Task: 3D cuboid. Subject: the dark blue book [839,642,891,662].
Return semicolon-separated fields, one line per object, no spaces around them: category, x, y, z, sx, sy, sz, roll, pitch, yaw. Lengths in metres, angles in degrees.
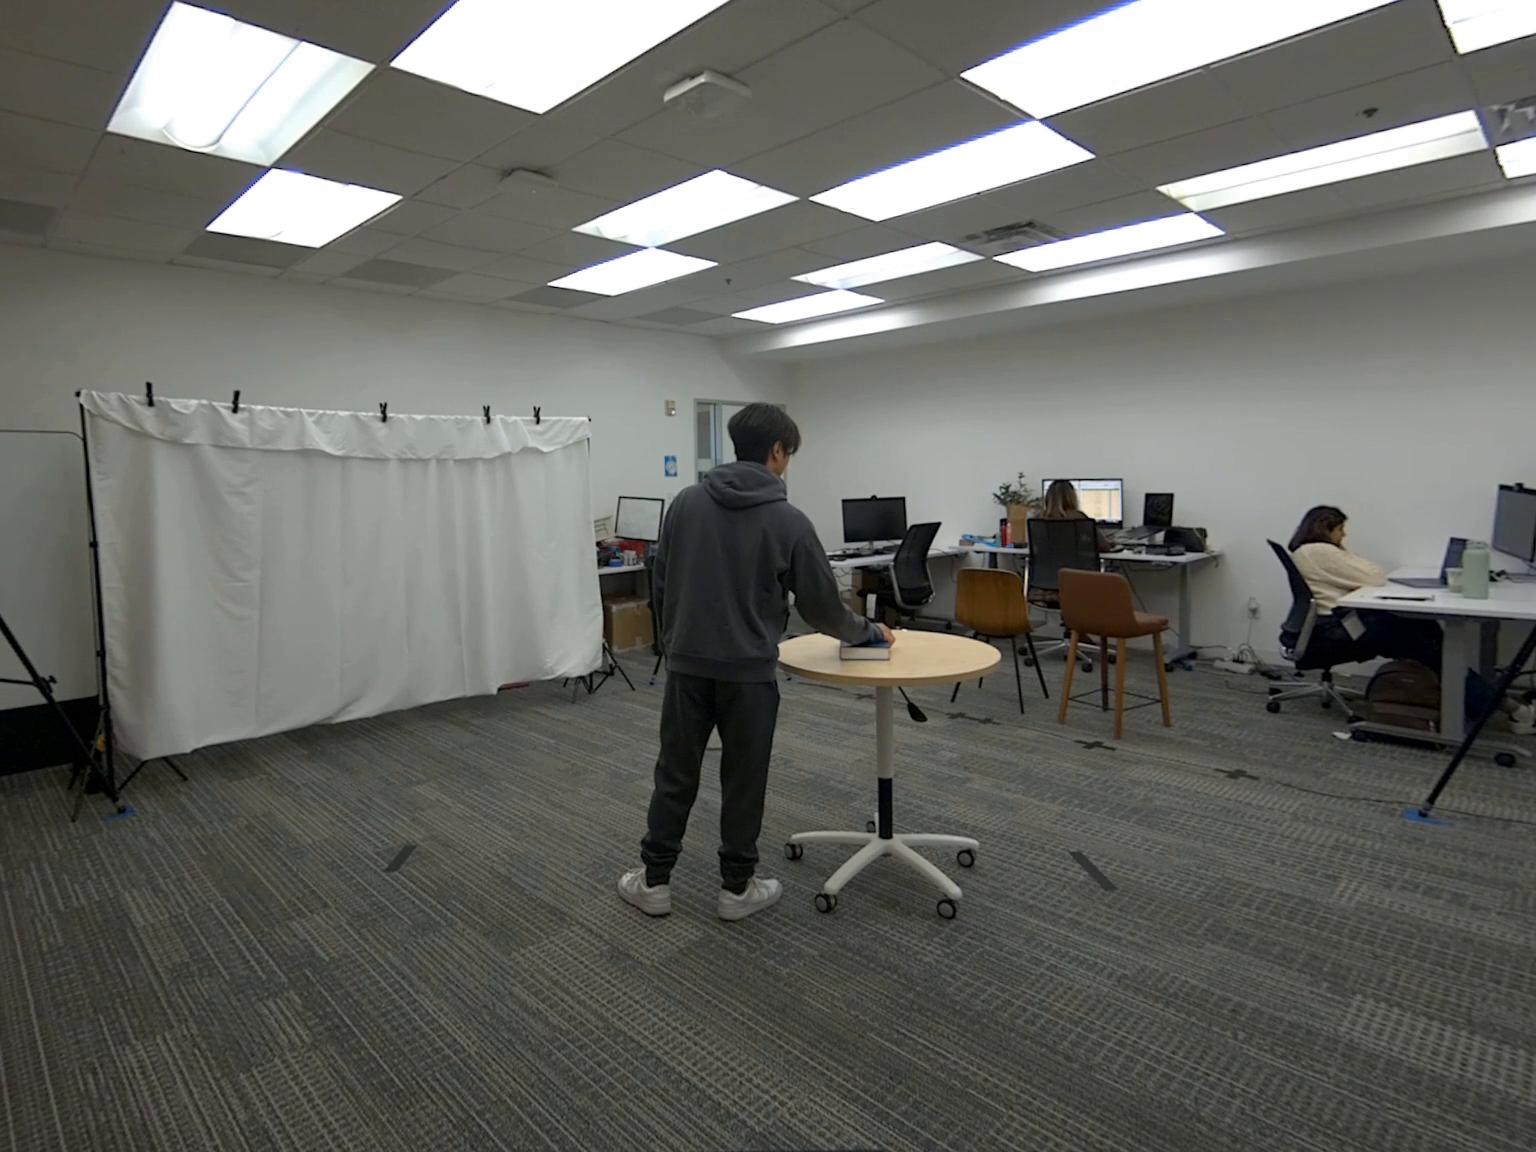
dark blue book;0.328;0.241;2.918;0.164;0.045;0.244;0;7;6
